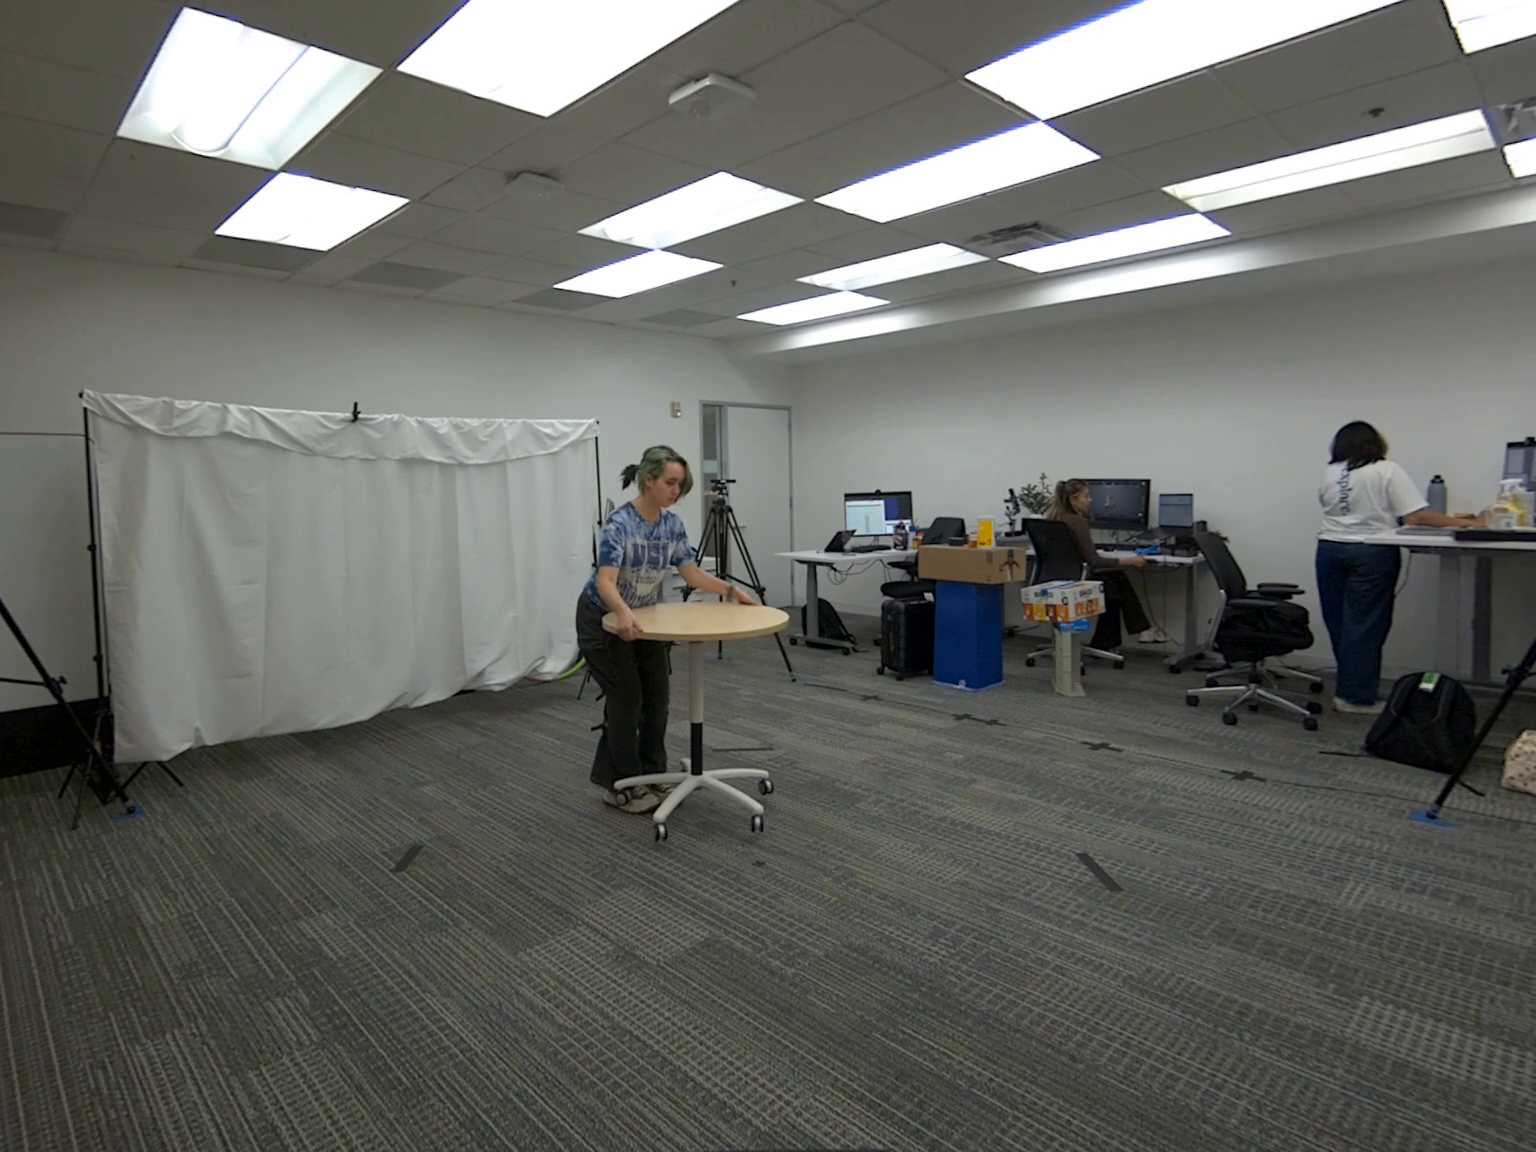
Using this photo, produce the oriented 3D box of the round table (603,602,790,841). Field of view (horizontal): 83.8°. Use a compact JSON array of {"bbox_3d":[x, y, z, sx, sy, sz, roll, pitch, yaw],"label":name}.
[{"bbox_3d":[-0.283,0.572,3.521,0.763,0.790,0.768,0,5,-2],"label":"round table"}]
